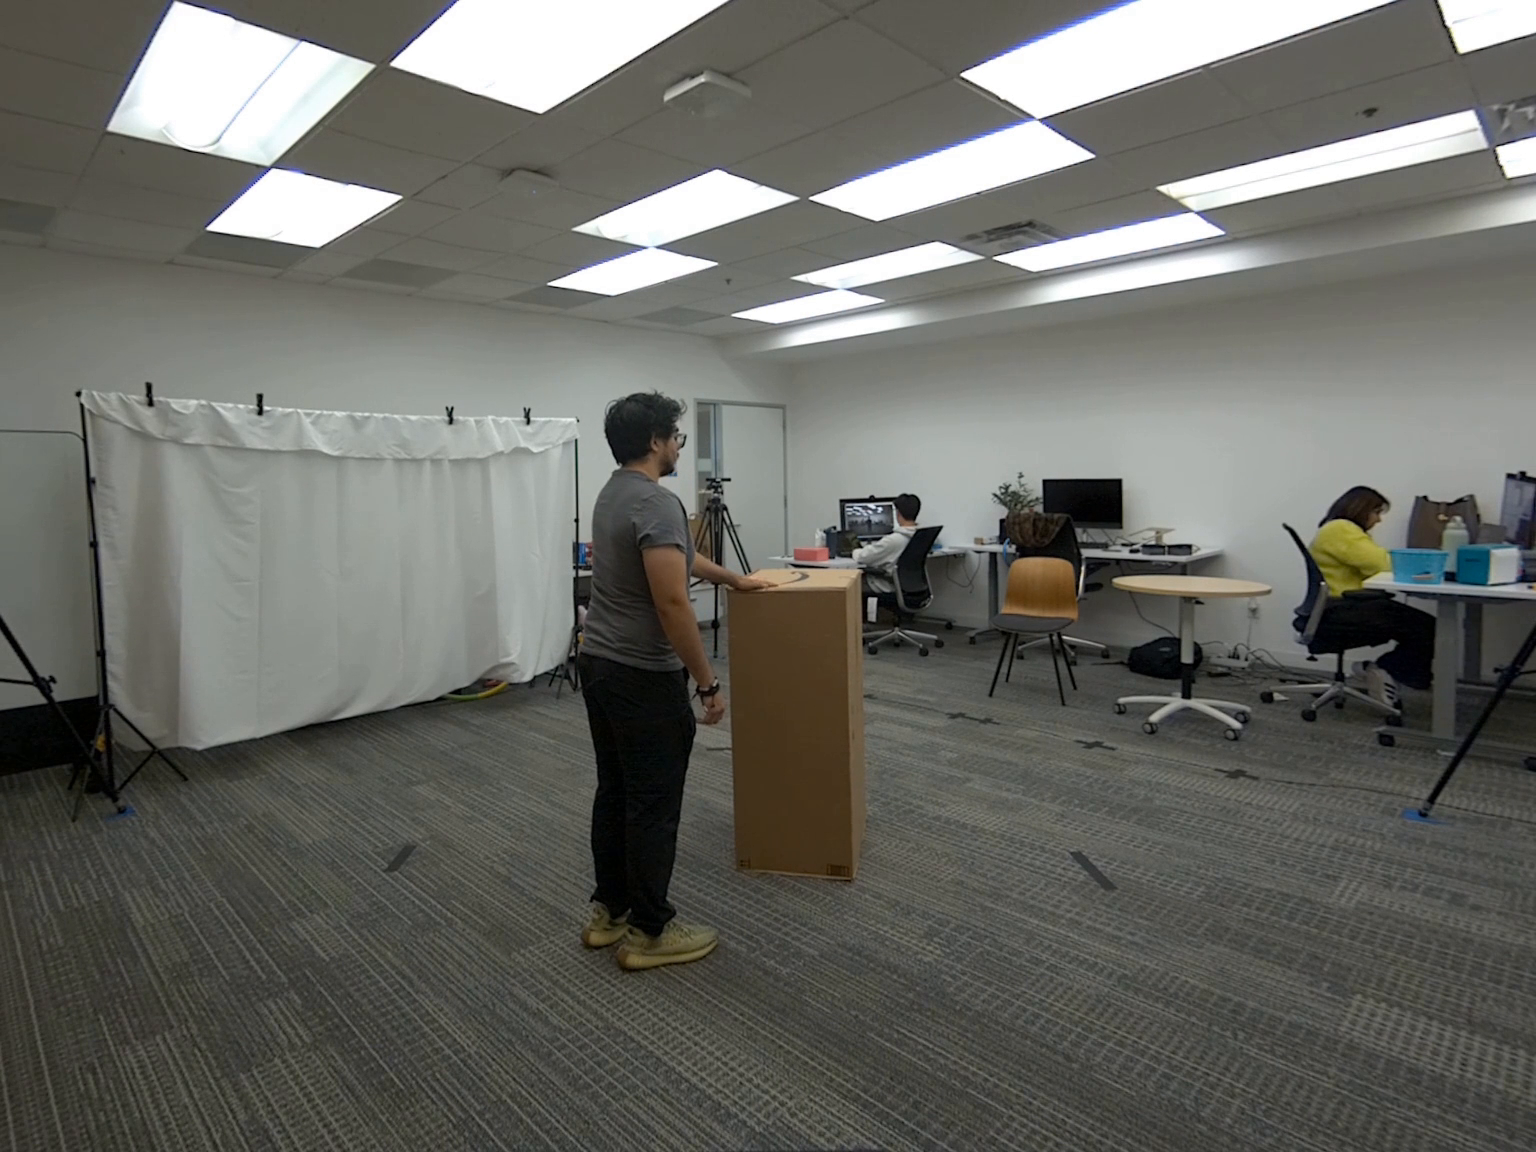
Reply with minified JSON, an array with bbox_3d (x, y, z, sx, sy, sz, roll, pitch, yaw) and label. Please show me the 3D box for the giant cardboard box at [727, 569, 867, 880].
[{"bbox_3d":[0.125,0.513,3.239,0.432,1.022,0.572,0,5,13],"label":"giant cardboard box"}]
